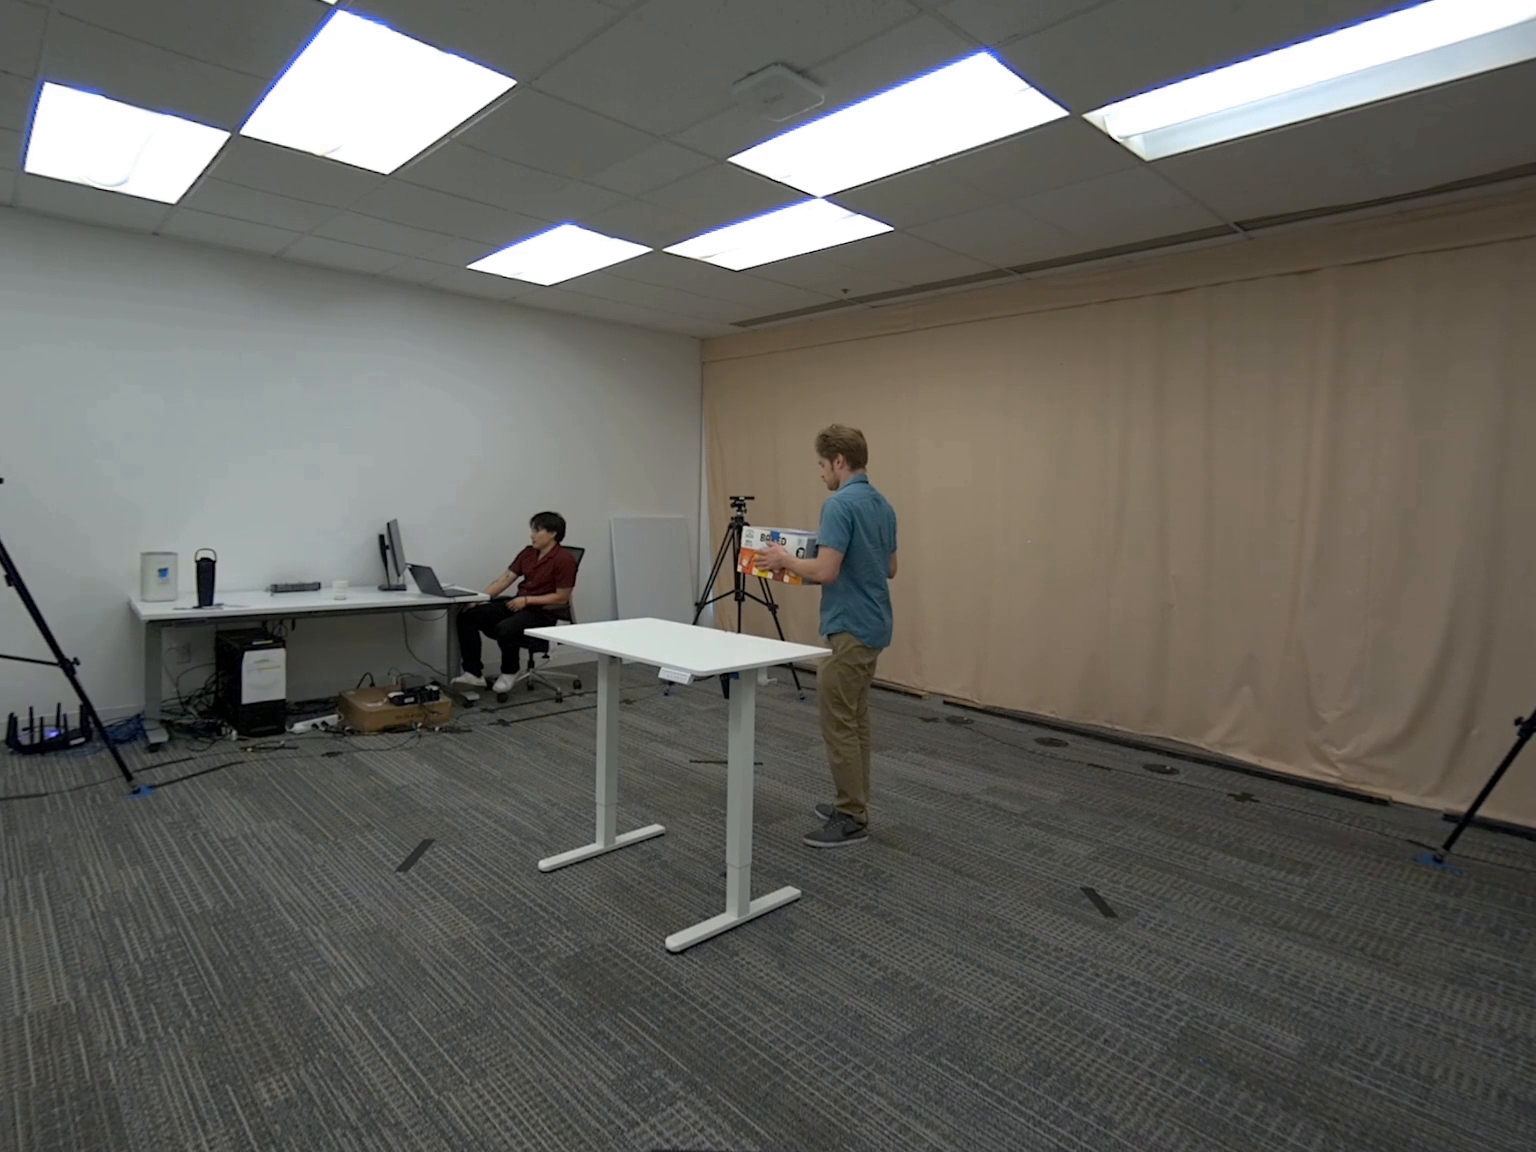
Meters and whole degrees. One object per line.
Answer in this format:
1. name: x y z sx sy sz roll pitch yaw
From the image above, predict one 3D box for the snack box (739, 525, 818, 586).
1. snack box: 0.121 -0.091 3.733 0.349 0.205 0.396 12 8 36
